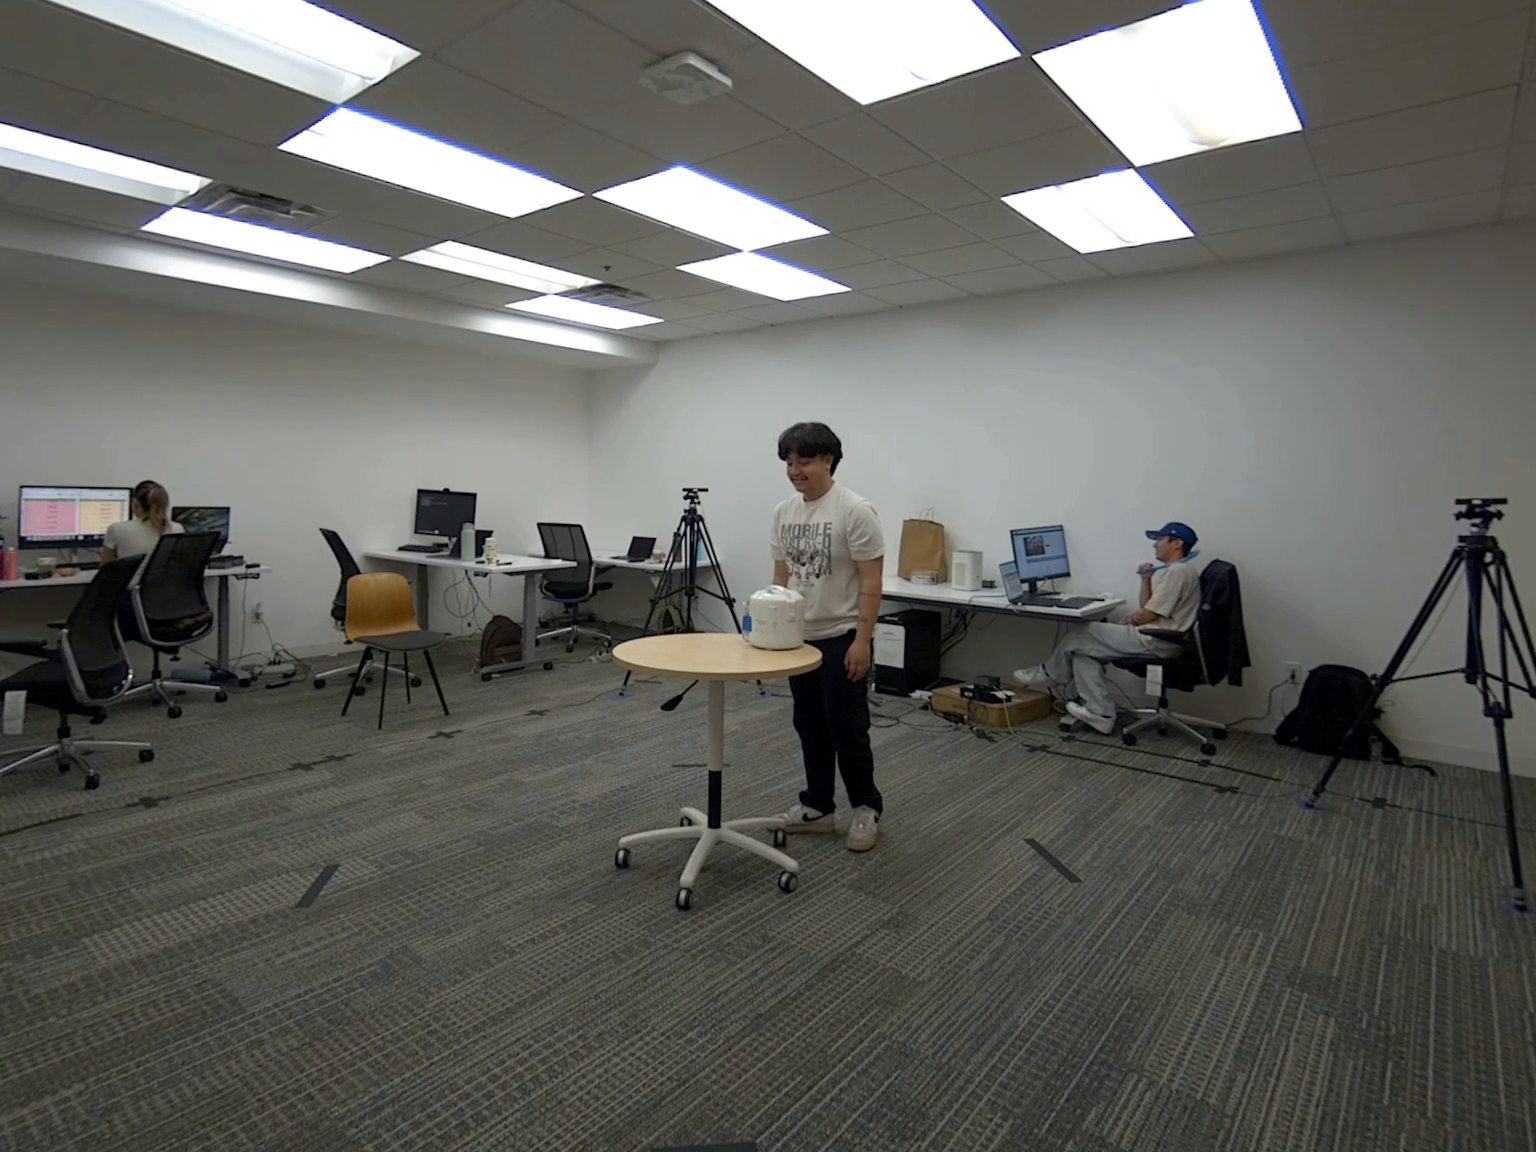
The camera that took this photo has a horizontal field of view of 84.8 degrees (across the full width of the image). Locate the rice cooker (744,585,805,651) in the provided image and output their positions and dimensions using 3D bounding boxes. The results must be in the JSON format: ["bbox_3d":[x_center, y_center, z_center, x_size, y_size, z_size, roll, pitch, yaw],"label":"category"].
[{"bbox_3d":[0.025,0.149,3.227,0.212,0.232,0.227,-2,6,-29],"label":"rice cooker"}]
